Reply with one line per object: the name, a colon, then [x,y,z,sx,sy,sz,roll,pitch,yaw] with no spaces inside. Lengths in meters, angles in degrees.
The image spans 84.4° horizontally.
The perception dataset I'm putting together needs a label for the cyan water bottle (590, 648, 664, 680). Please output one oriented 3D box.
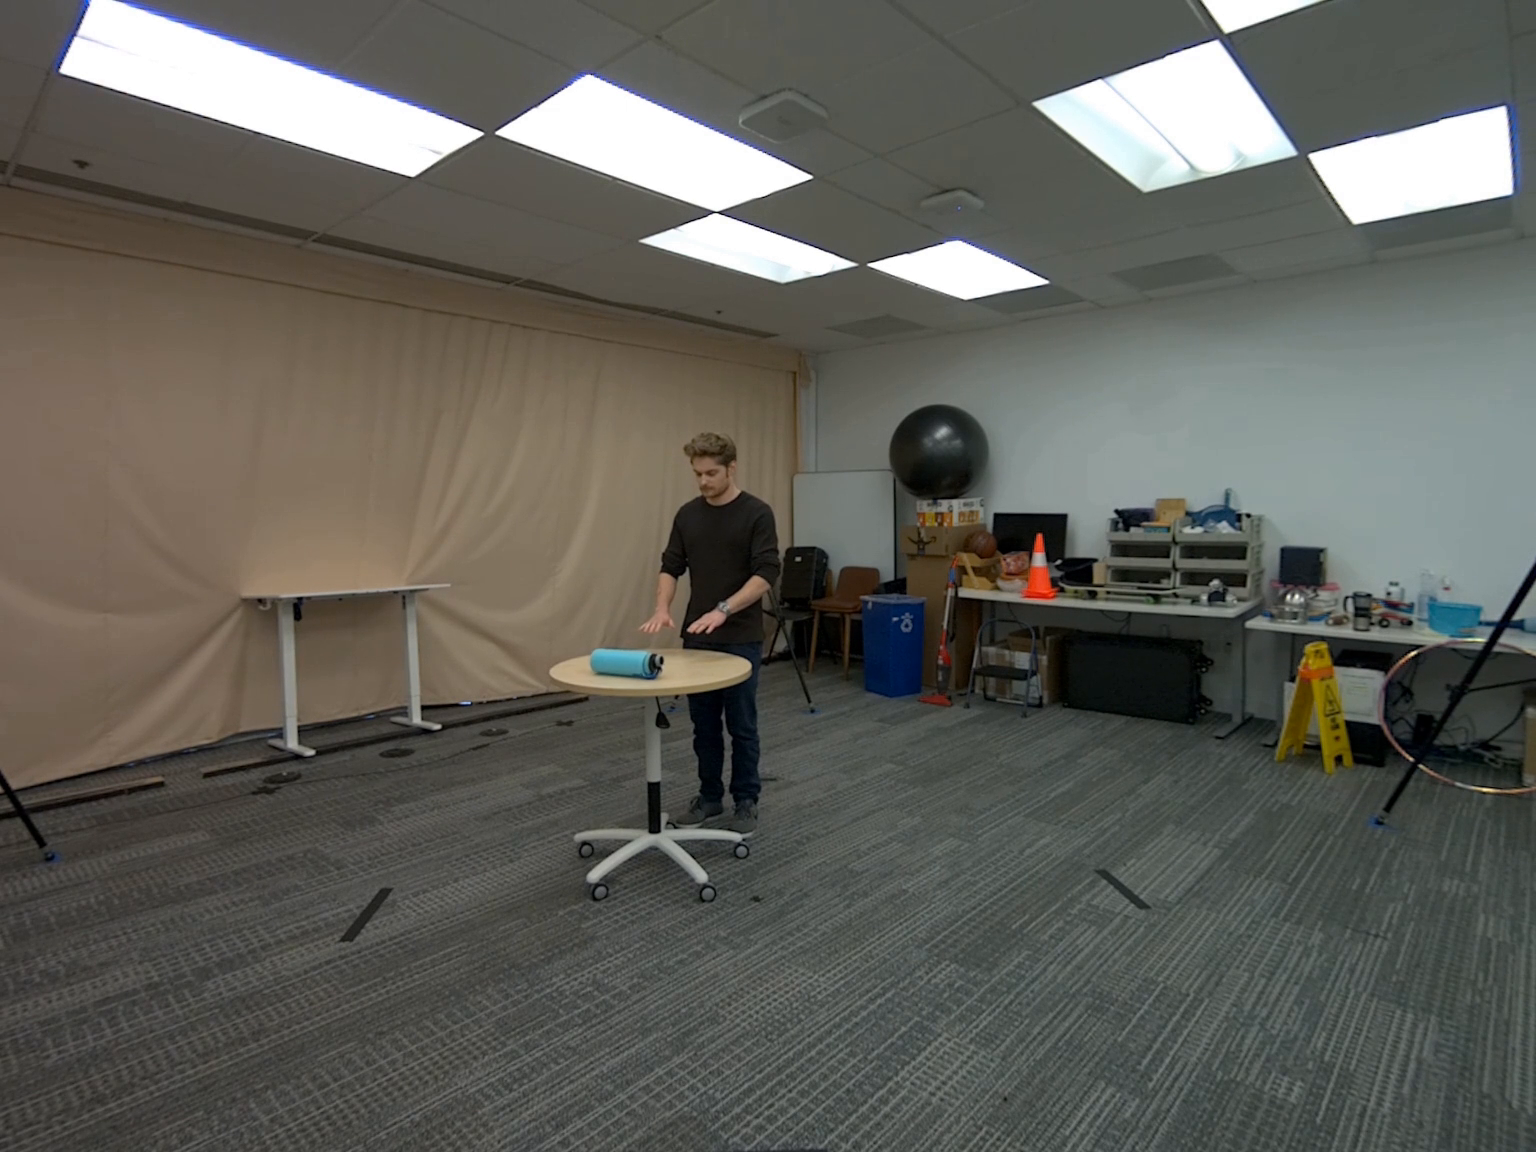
cyan water bottle: [-0.501,0.313,3.048,0.291,0.092,0.090,1,4,27]
